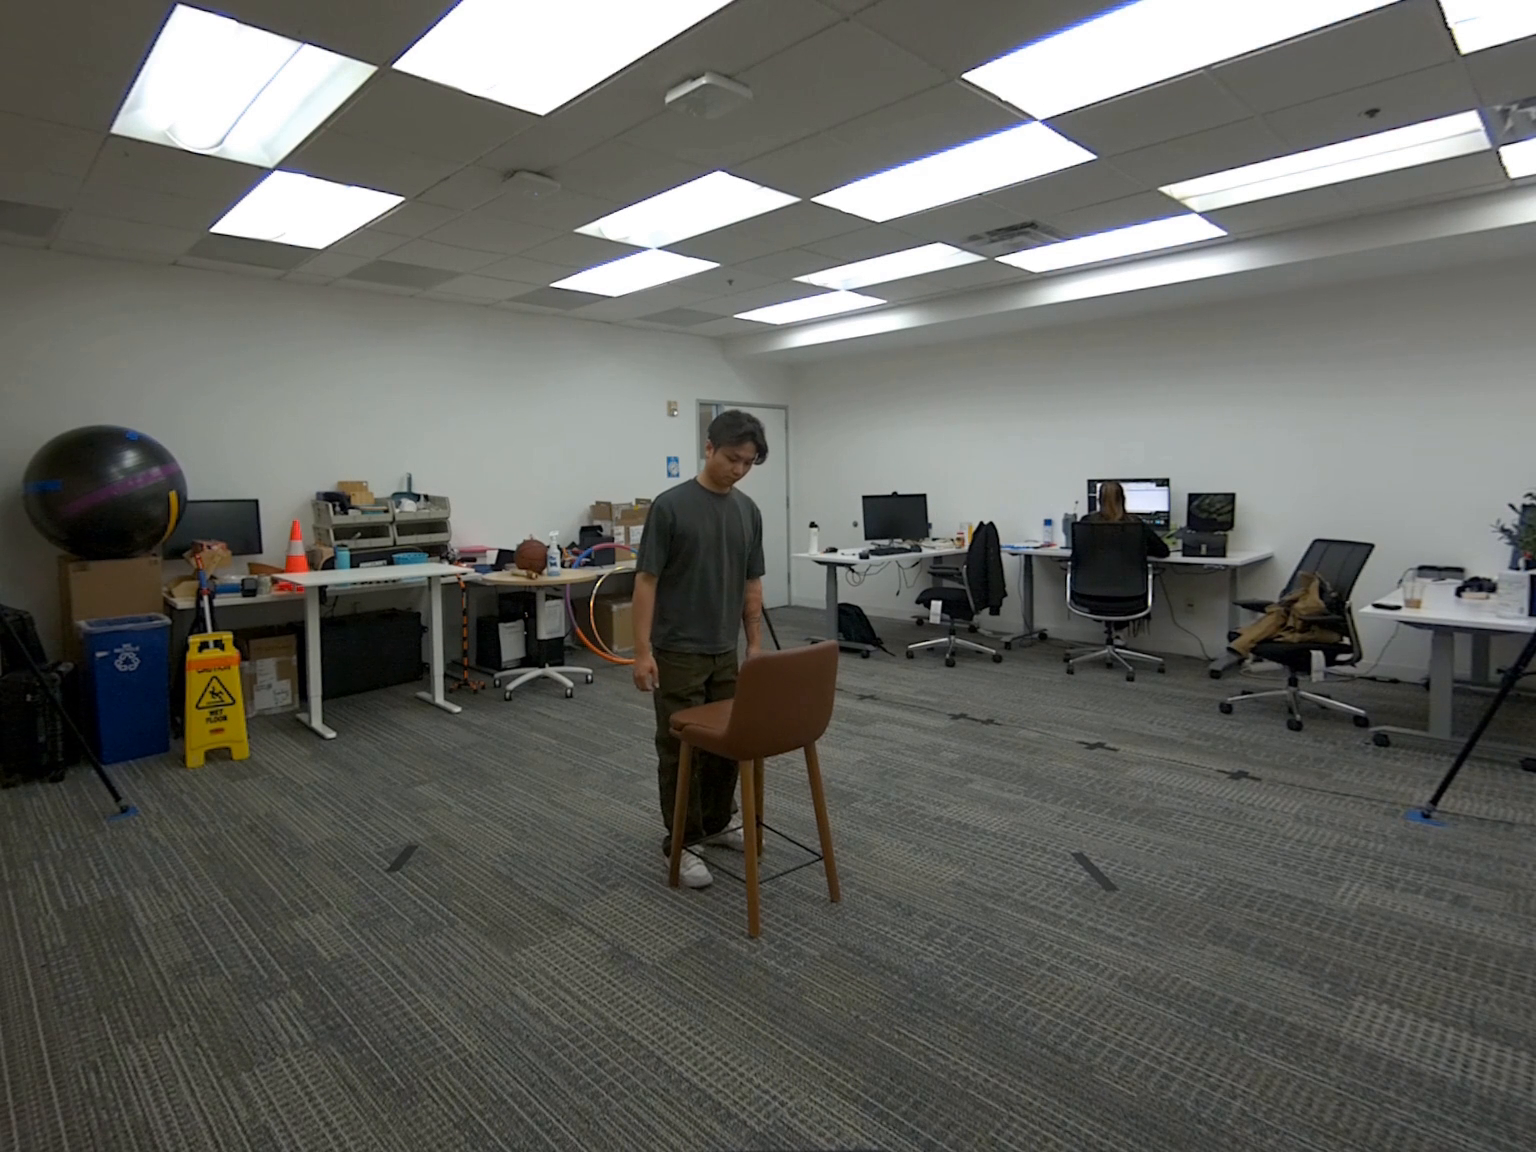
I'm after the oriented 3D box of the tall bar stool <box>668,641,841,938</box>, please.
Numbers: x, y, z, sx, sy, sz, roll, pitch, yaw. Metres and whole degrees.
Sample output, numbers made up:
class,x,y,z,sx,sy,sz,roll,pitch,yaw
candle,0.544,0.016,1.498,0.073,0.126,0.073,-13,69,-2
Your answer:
class,x,y,z,sx,sy,sz,roll,pitch,yaw
tall bar stool,-0.040,0.633,2.860,0.444,0.885,0.482,-4,7,-39
